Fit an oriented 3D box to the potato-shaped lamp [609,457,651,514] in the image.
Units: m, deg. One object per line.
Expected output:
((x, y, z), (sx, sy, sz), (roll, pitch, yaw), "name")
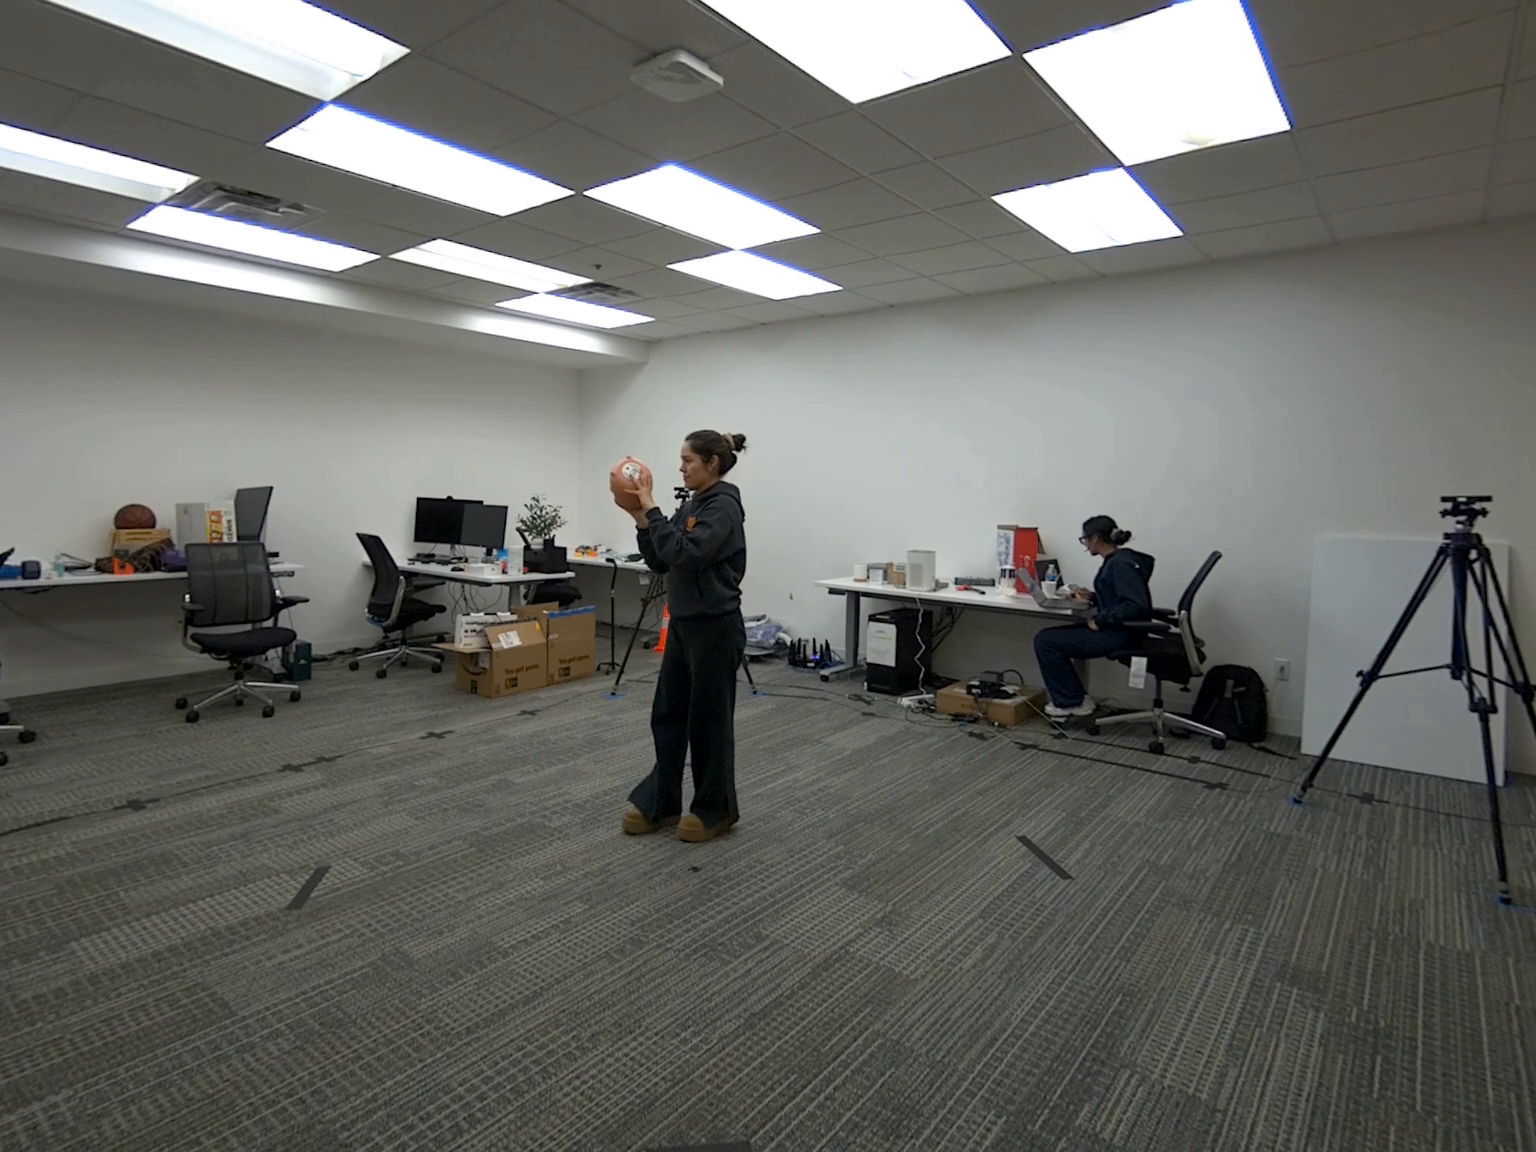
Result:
((-0.542, -0.360, 3.361), (0.173, 0.165, 0.196), (33, -30, 4), "potato-shaped lamp")
